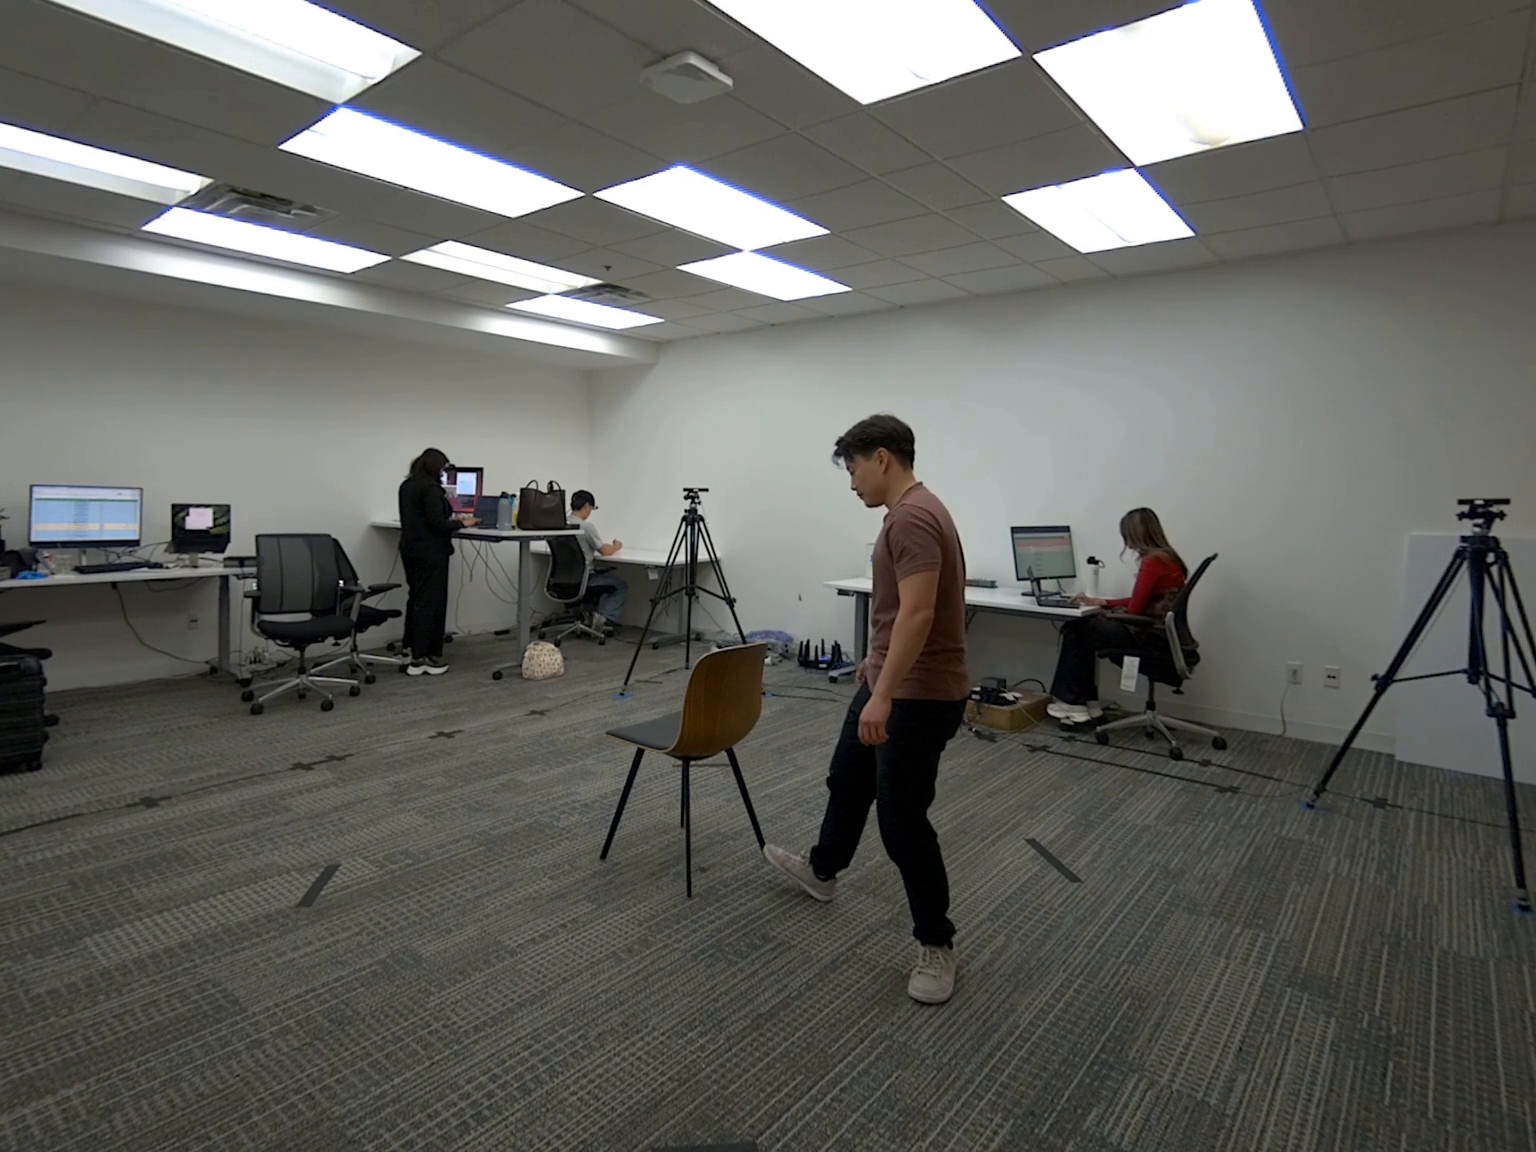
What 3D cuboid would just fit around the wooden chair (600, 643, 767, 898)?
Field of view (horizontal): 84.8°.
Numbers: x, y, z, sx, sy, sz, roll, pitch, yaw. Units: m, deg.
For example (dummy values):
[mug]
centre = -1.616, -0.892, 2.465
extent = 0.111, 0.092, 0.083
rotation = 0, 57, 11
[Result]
[wooden chair]
centre = -0.319, 0.634, 3.178
extent = 0.542, 0.873, 0.464
rotation = 9, 8, 38
